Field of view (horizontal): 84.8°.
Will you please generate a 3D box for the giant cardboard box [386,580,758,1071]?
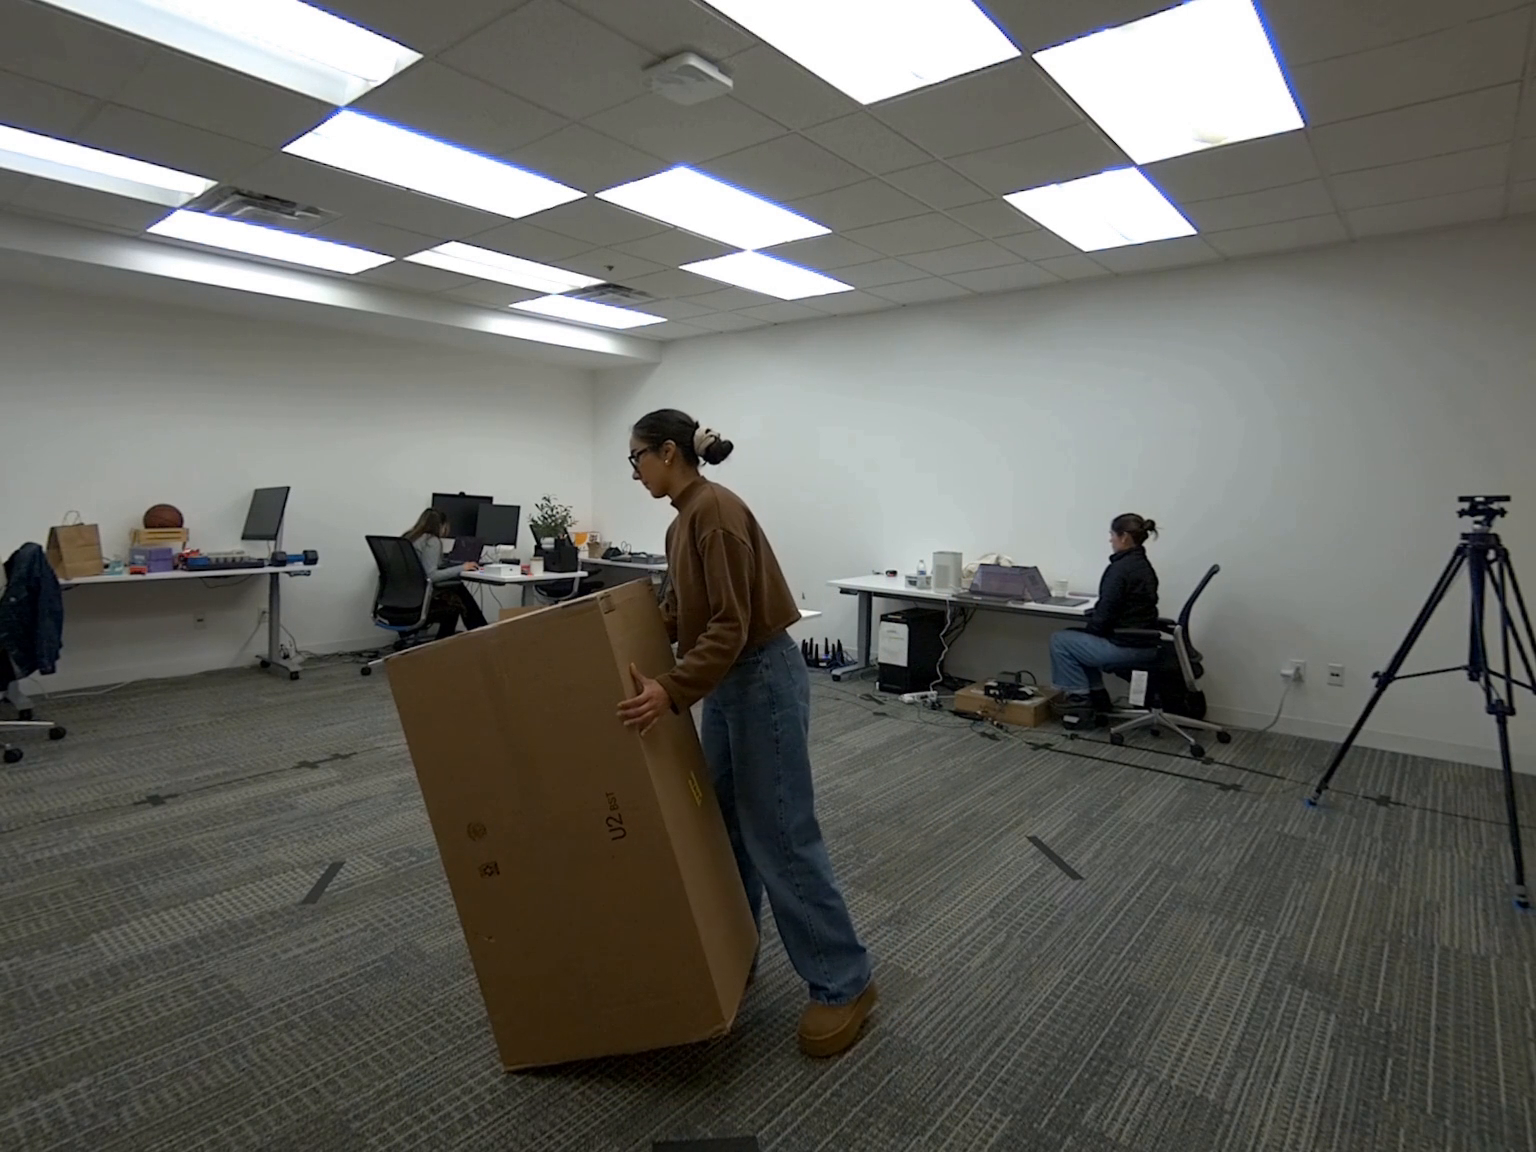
[{"bbox_3d":[-0.481,0.589,2.152,0.582,1.028,0.422,-17,-1,9],"label":"giant cardboard box"}]
